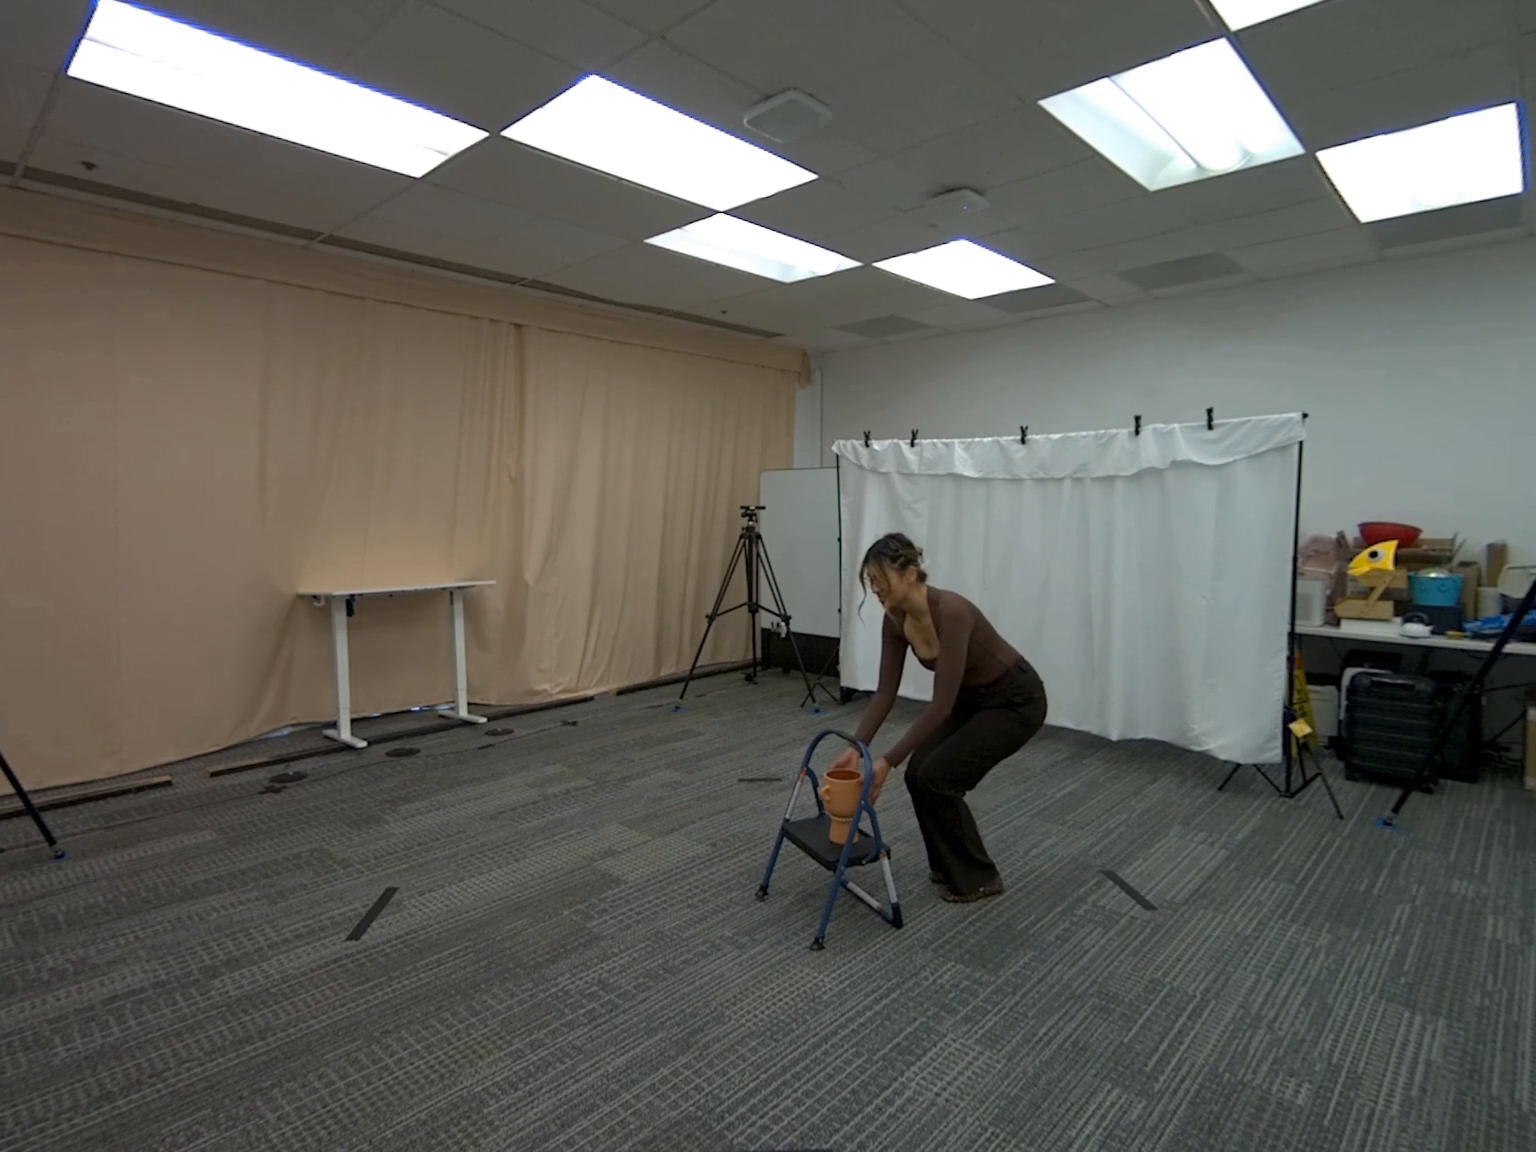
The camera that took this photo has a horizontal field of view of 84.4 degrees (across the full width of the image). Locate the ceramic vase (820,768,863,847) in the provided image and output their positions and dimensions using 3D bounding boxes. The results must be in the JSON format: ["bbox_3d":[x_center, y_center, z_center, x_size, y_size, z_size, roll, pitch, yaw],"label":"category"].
[{"bbox_3d":[0.257,0.781,2.848,0.160,0.219,0.134,-1,4,4],"label":"ceramic vase"}]
